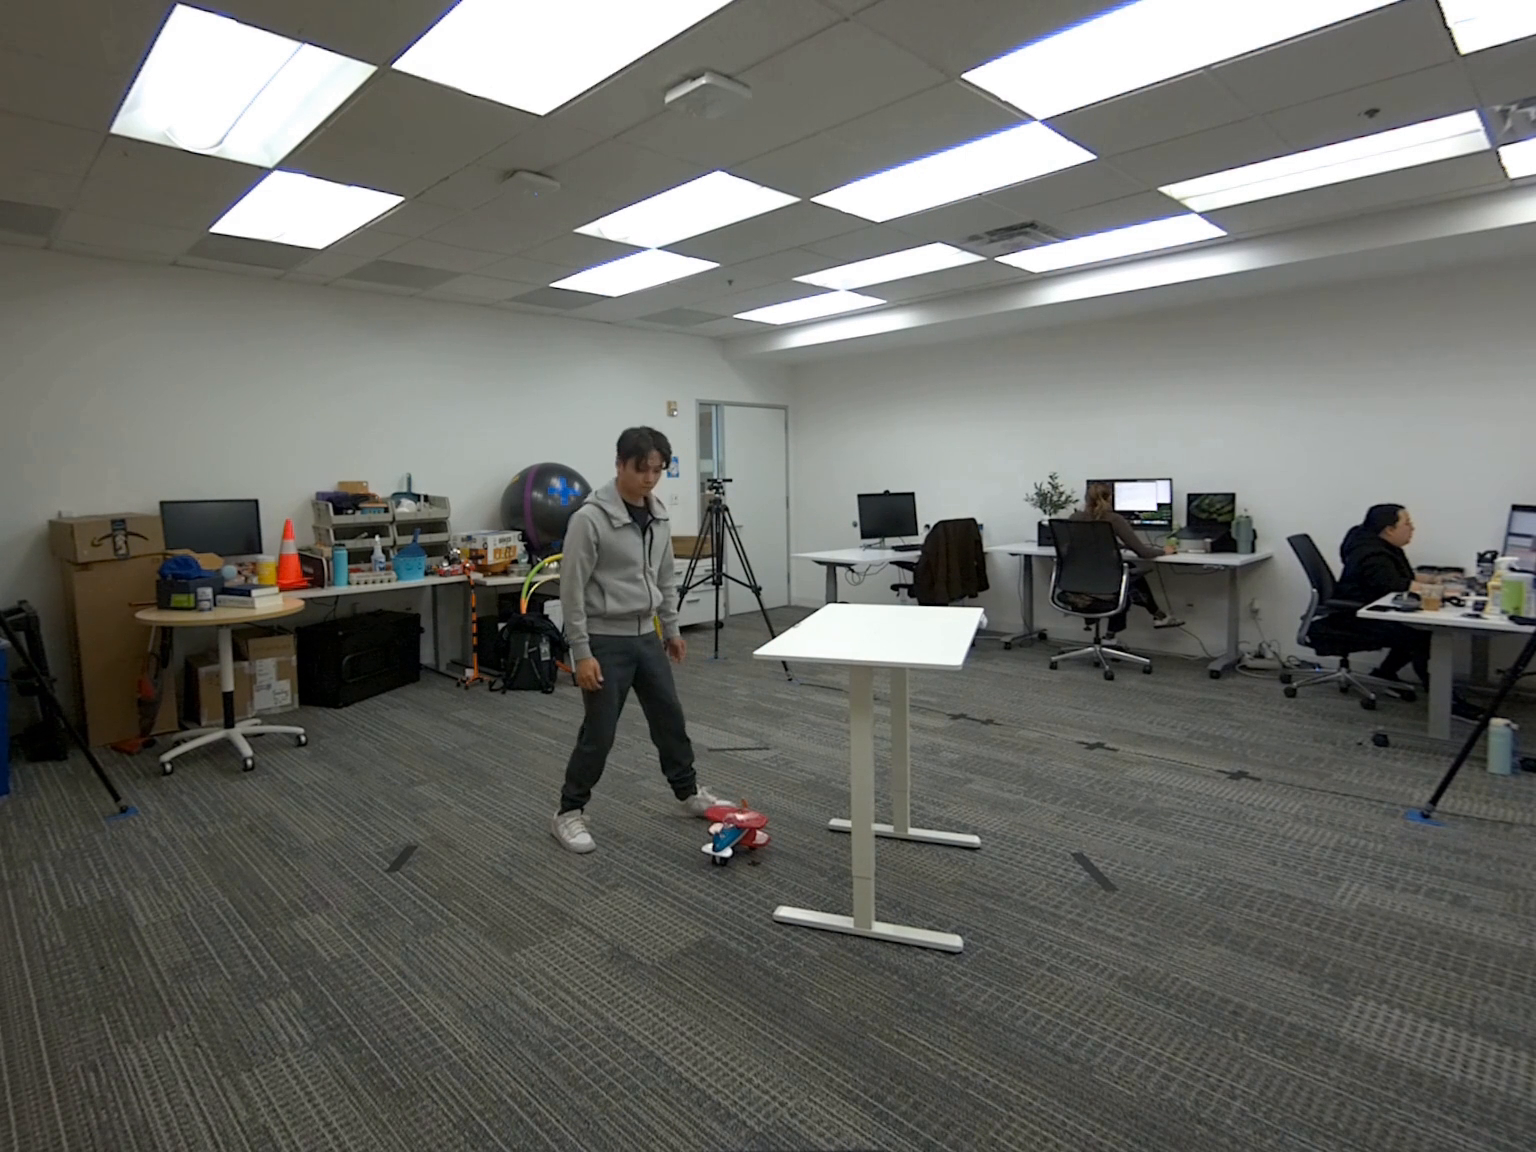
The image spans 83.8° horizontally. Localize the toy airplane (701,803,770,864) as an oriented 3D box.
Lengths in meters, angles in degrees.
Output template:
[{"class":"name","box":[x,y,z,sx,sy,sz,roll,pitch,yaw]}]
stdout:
[{"class":"toy airplane","box":[-0.113,0.965,3.163,0.252,0.156,0.259,0,4,2]}]
